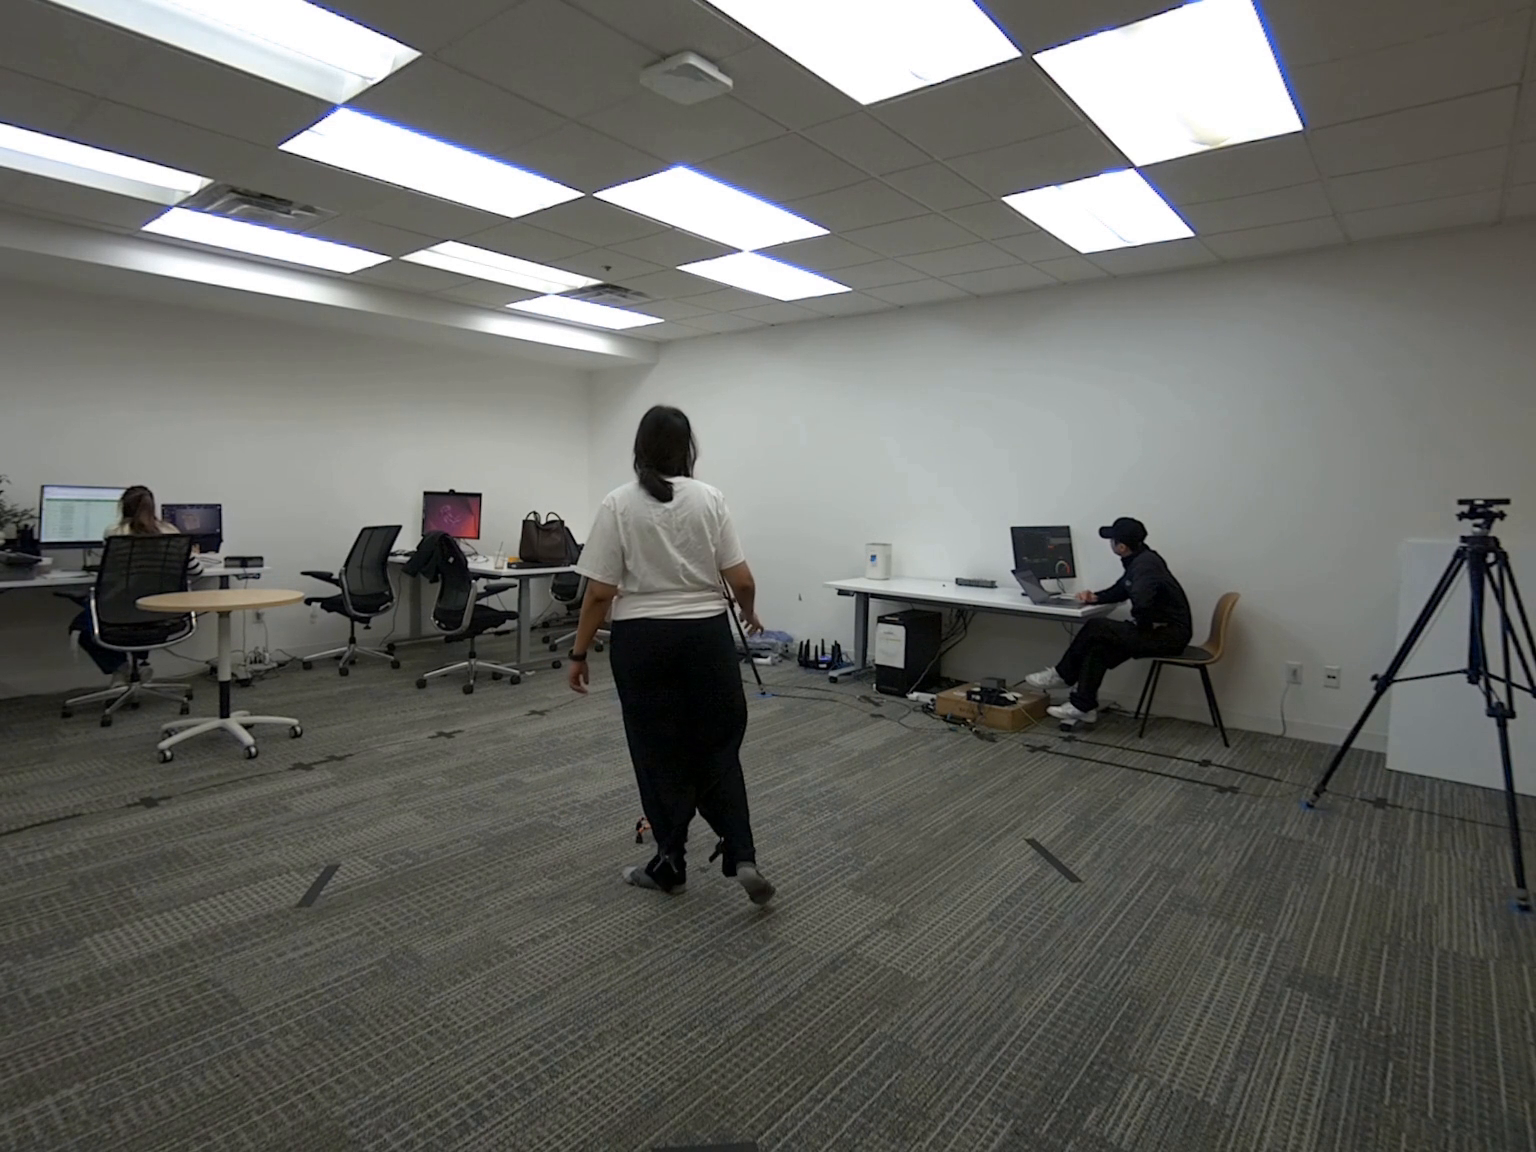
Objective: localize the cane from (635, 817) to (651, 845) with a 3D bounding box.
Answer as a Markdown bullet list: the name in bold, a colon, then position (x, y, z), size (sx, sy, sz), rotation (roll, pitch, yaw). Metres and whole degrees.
- **cane**: position (-0.426, 0.581, 3.384), size (0.205, 0.906, 0.153), rotation (1, 2, -6)
